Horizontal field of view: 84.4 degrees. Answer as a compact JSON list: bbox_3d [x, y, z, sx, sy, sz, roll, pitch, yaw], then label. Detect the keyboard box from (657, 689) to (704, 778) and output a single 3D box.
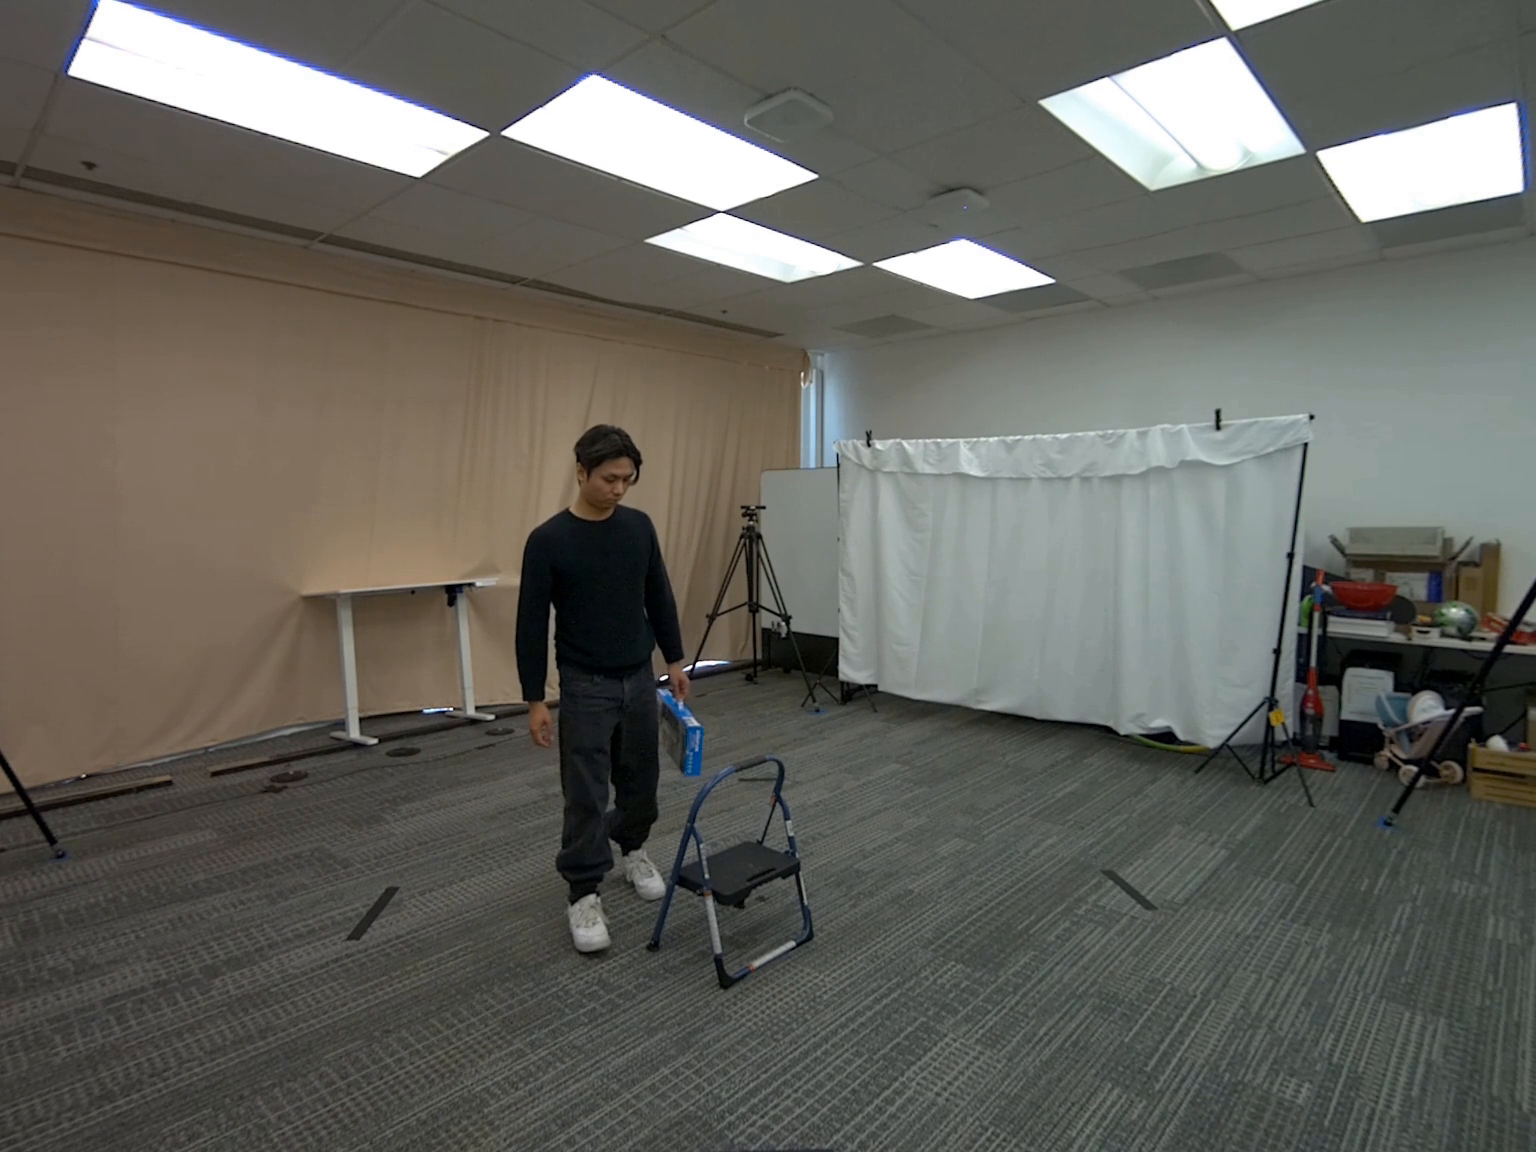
[{"bbox_3d":[-0.321,0.554,3.003,0.058,0.175,0.447,2,8,-20],"label":"keyboard box"}]
